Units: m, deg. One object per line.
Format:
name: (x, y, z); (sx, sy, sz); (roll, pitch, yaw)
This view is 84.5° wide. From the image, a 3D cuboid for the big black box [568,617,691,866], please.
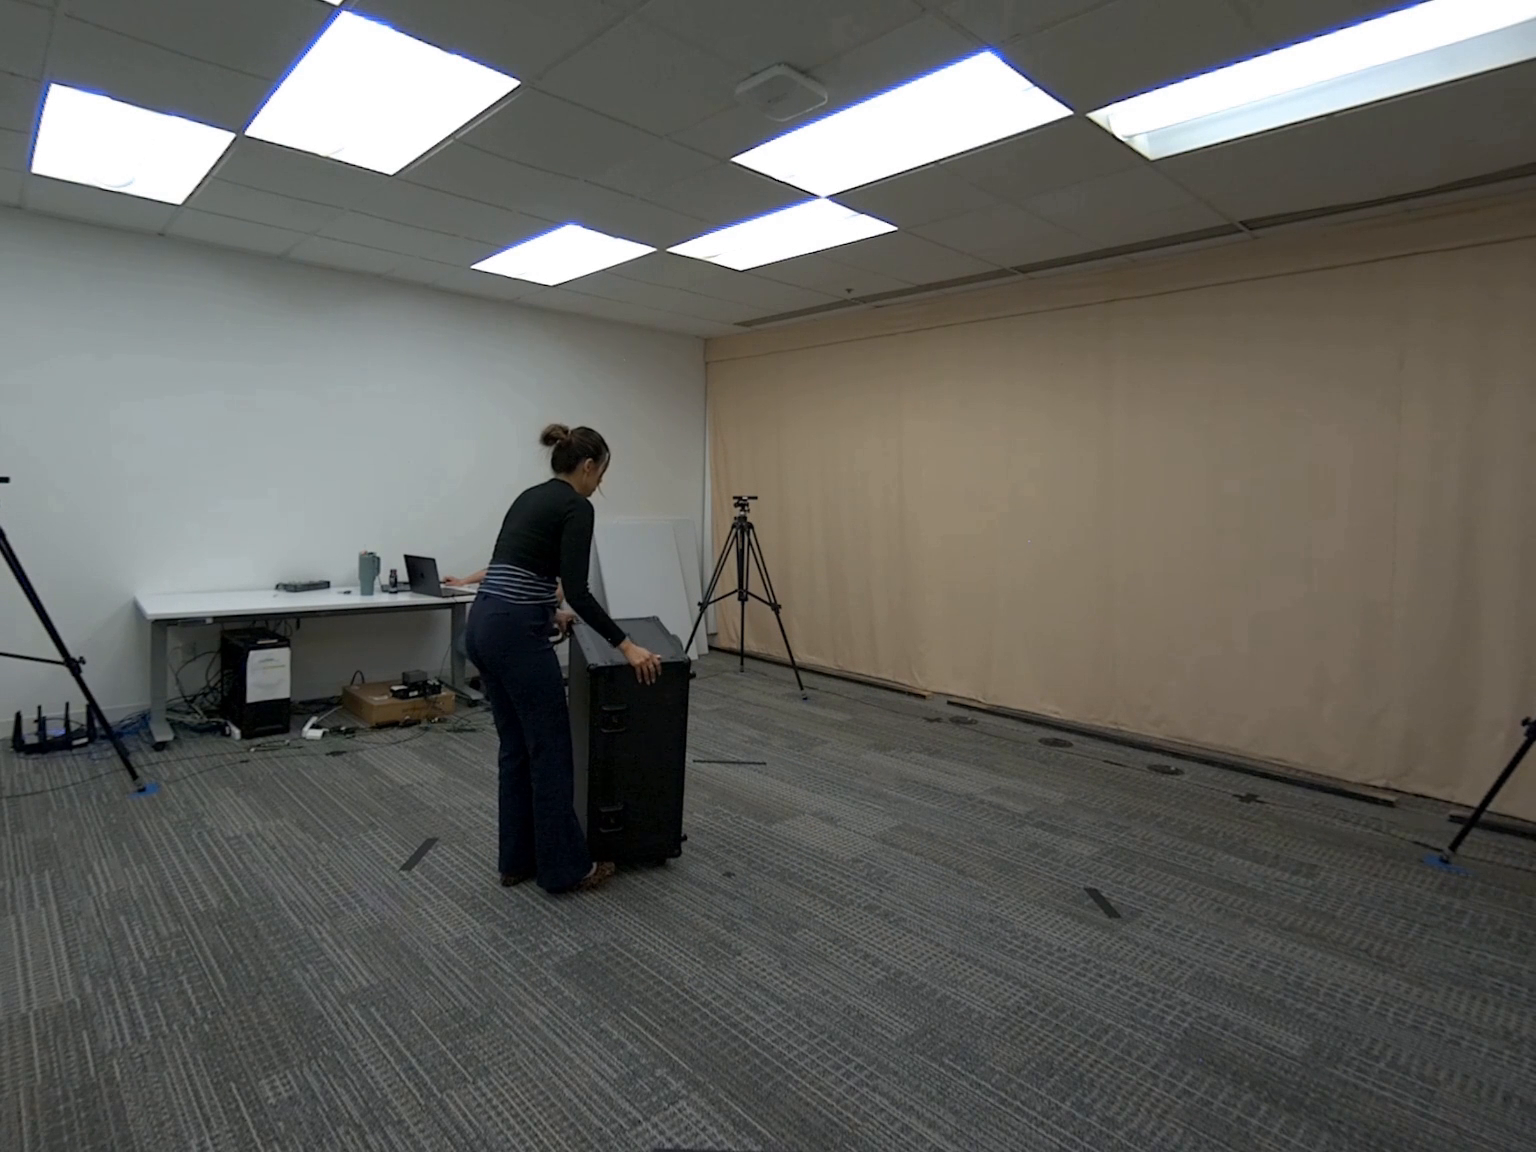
big black box: (-0.547, 0.639, 3.204); (0.390, 0.853, 0.534); (0, 15, -20)
